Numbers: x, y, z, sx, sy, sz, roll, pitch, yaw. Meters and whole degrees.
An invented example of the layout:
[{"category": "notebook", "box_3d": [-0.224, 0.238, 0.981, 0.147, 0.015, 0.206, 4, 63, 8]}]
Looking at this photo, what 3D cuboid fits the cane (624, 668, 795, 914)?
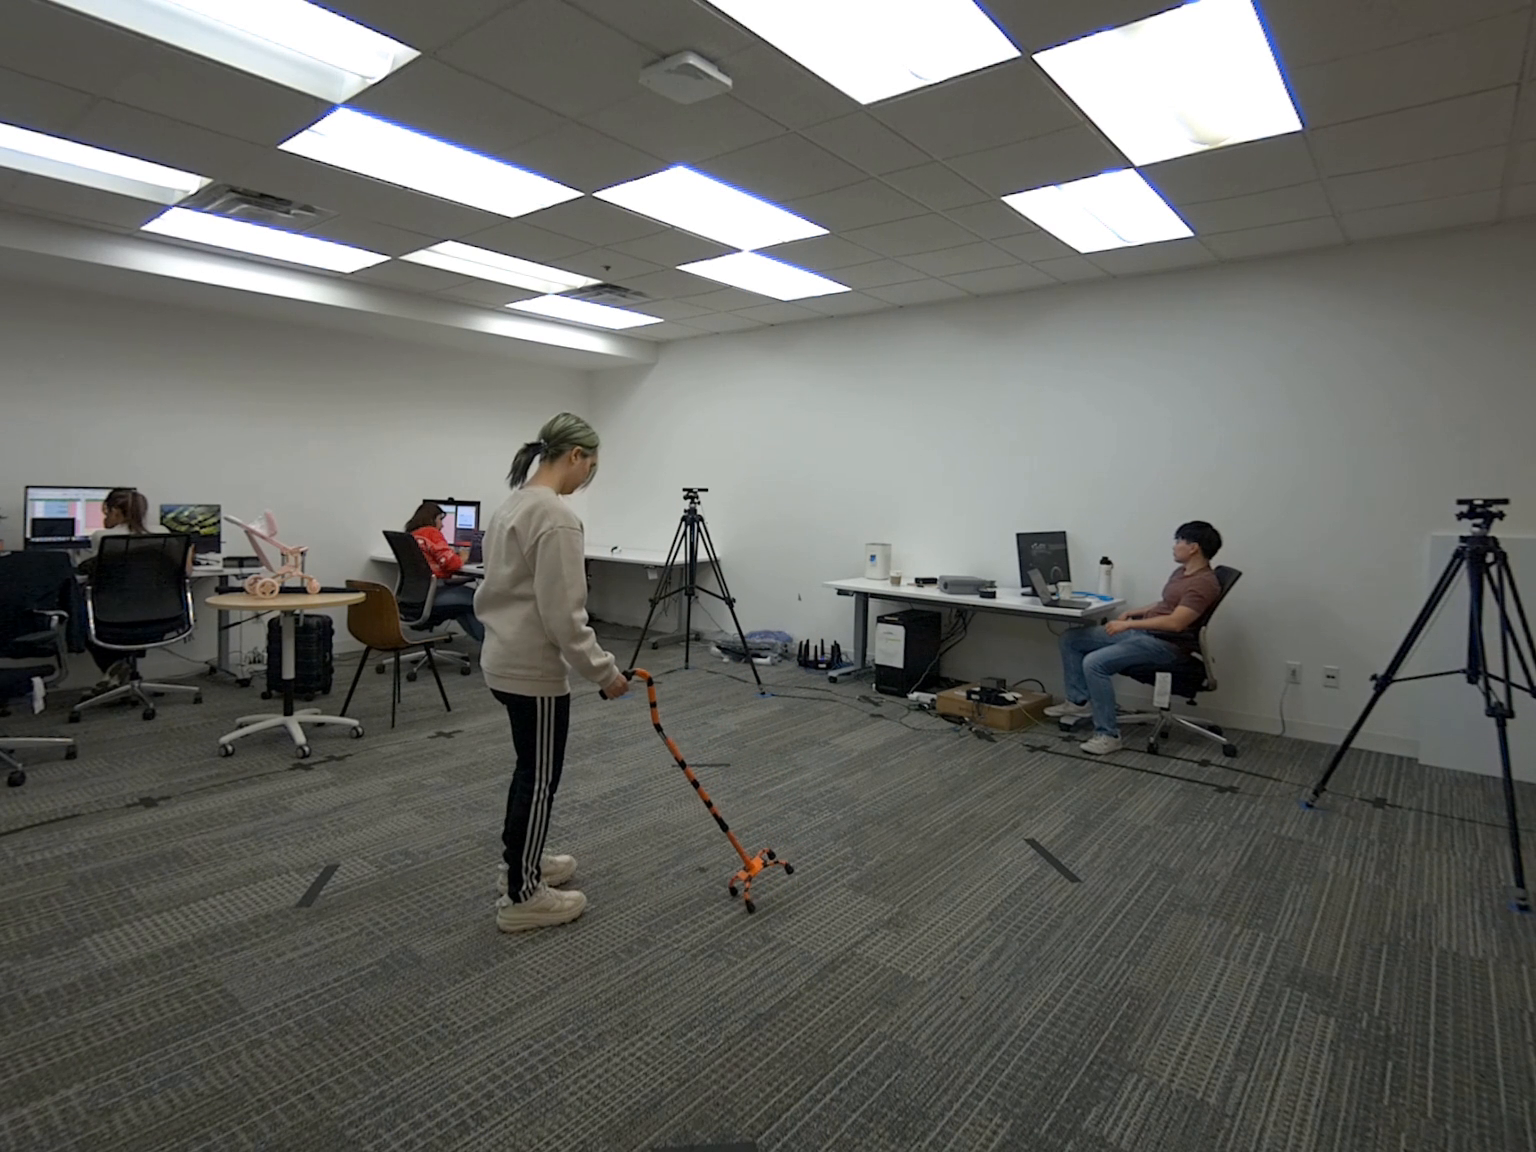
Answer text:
[{"category": "cane", "box_3d": [-0.238, 0.675, 2.756, 0.205, 0.888, 0.156, -36, 18, -18]}]
